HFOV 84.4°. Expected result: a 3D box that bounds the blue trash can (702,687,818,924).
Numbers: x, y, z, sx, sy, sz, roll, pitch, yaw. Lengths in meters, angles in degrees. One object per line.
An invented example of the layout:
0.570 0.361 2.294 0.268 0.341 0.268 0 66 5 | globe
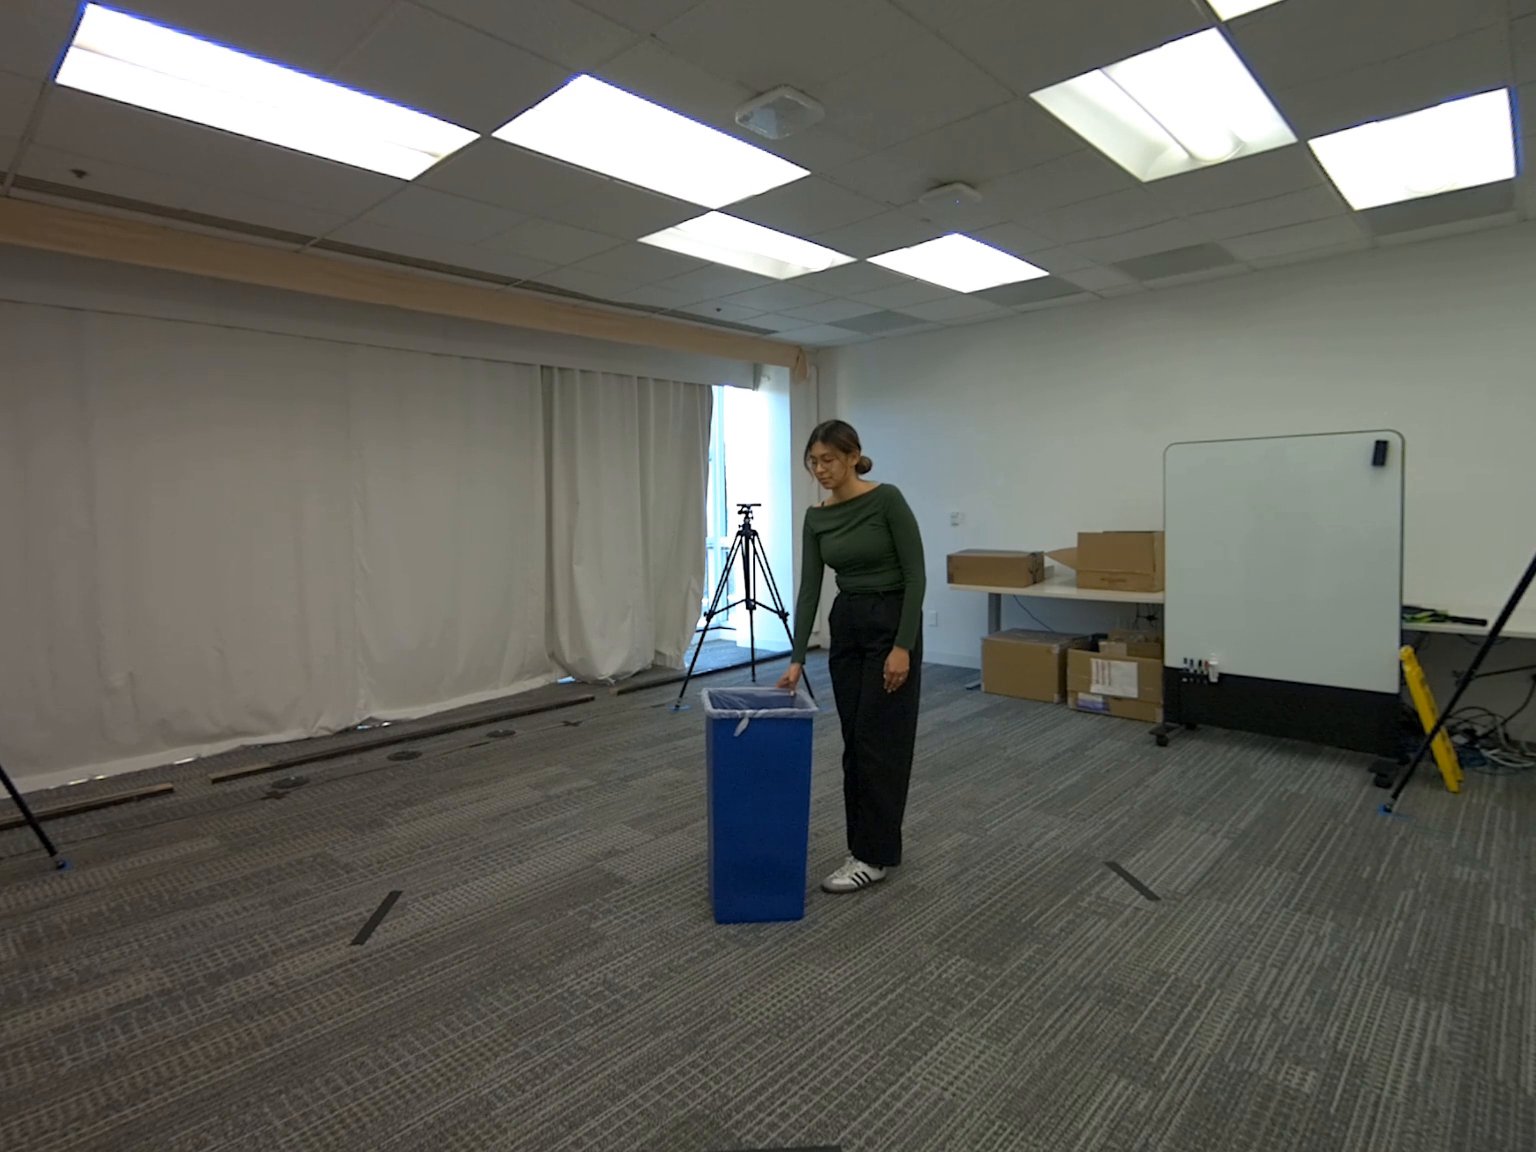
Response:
-0.043 0.781 2.923 0.372 0.712 0.381 1 3 -7 | blue trash can
